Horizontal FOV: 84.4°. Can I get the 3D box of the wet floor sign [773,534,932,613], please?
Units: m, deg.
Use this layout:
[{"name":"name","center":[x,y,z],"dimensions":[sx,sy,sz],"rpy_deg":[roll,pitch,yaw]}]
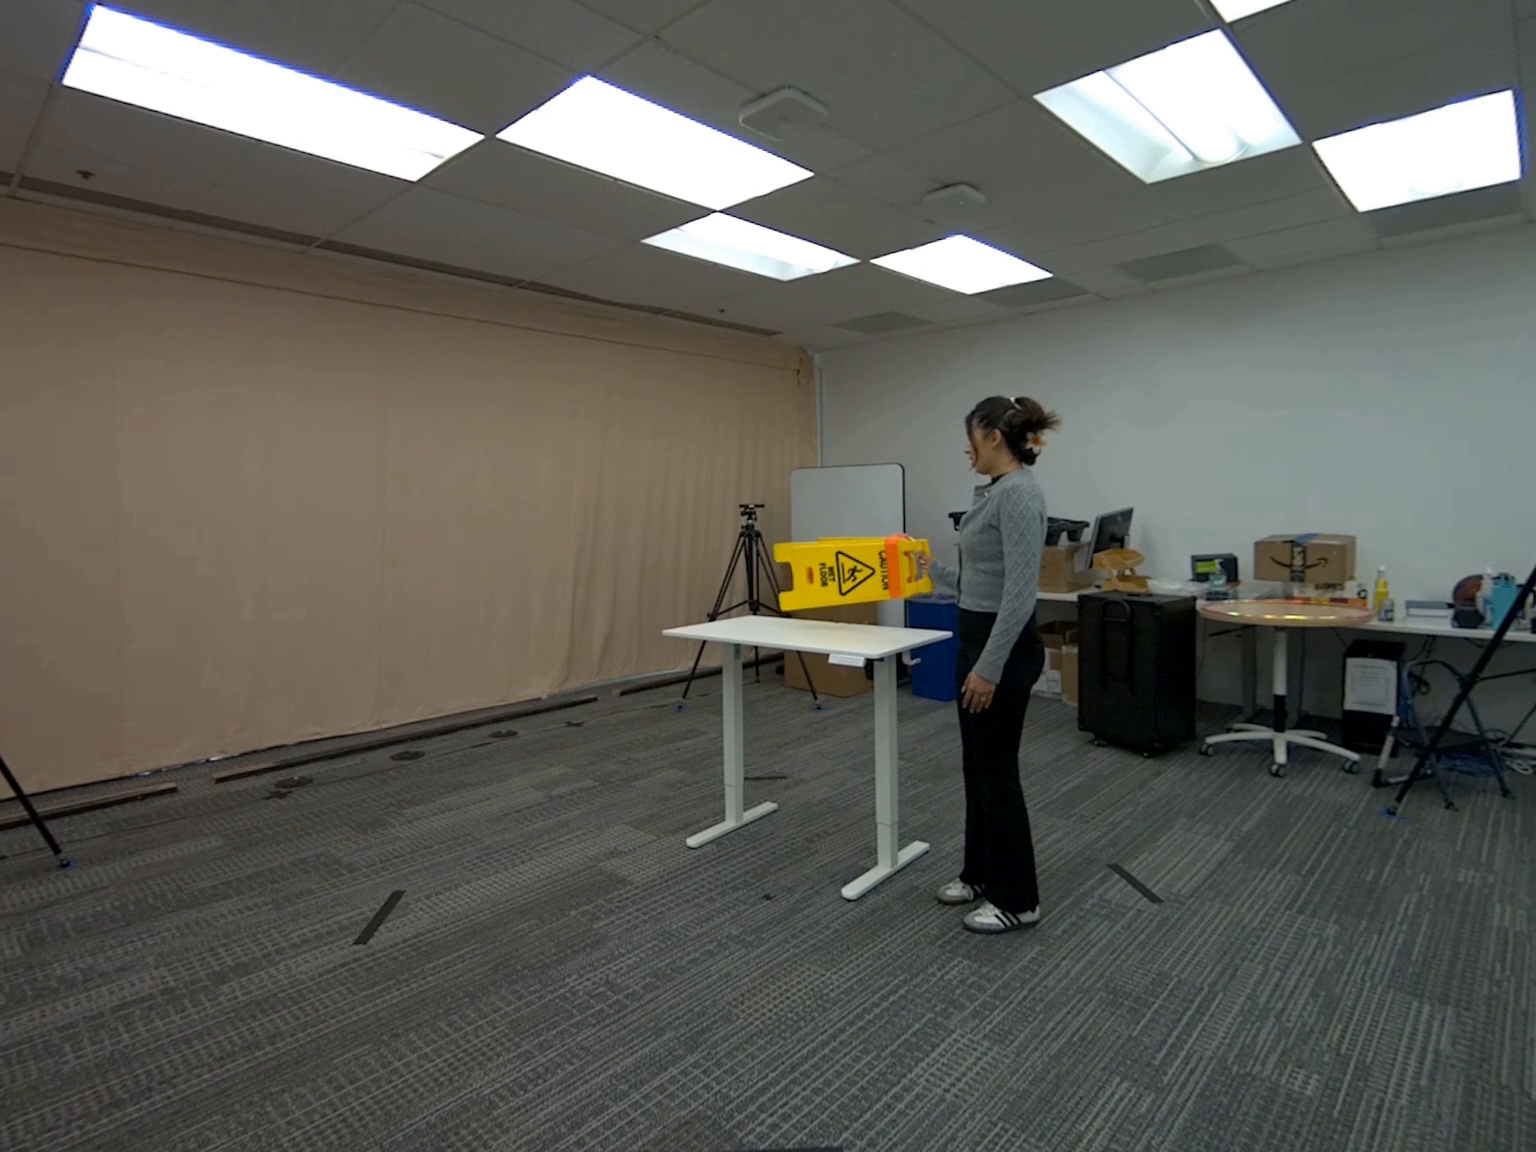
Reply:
[{"name":"wet floor sign","center":[0.374,-0.026,3.363],"dimensions":[0.666,0.282,0.281],"rpy_deg":[-4,3,45]}]
